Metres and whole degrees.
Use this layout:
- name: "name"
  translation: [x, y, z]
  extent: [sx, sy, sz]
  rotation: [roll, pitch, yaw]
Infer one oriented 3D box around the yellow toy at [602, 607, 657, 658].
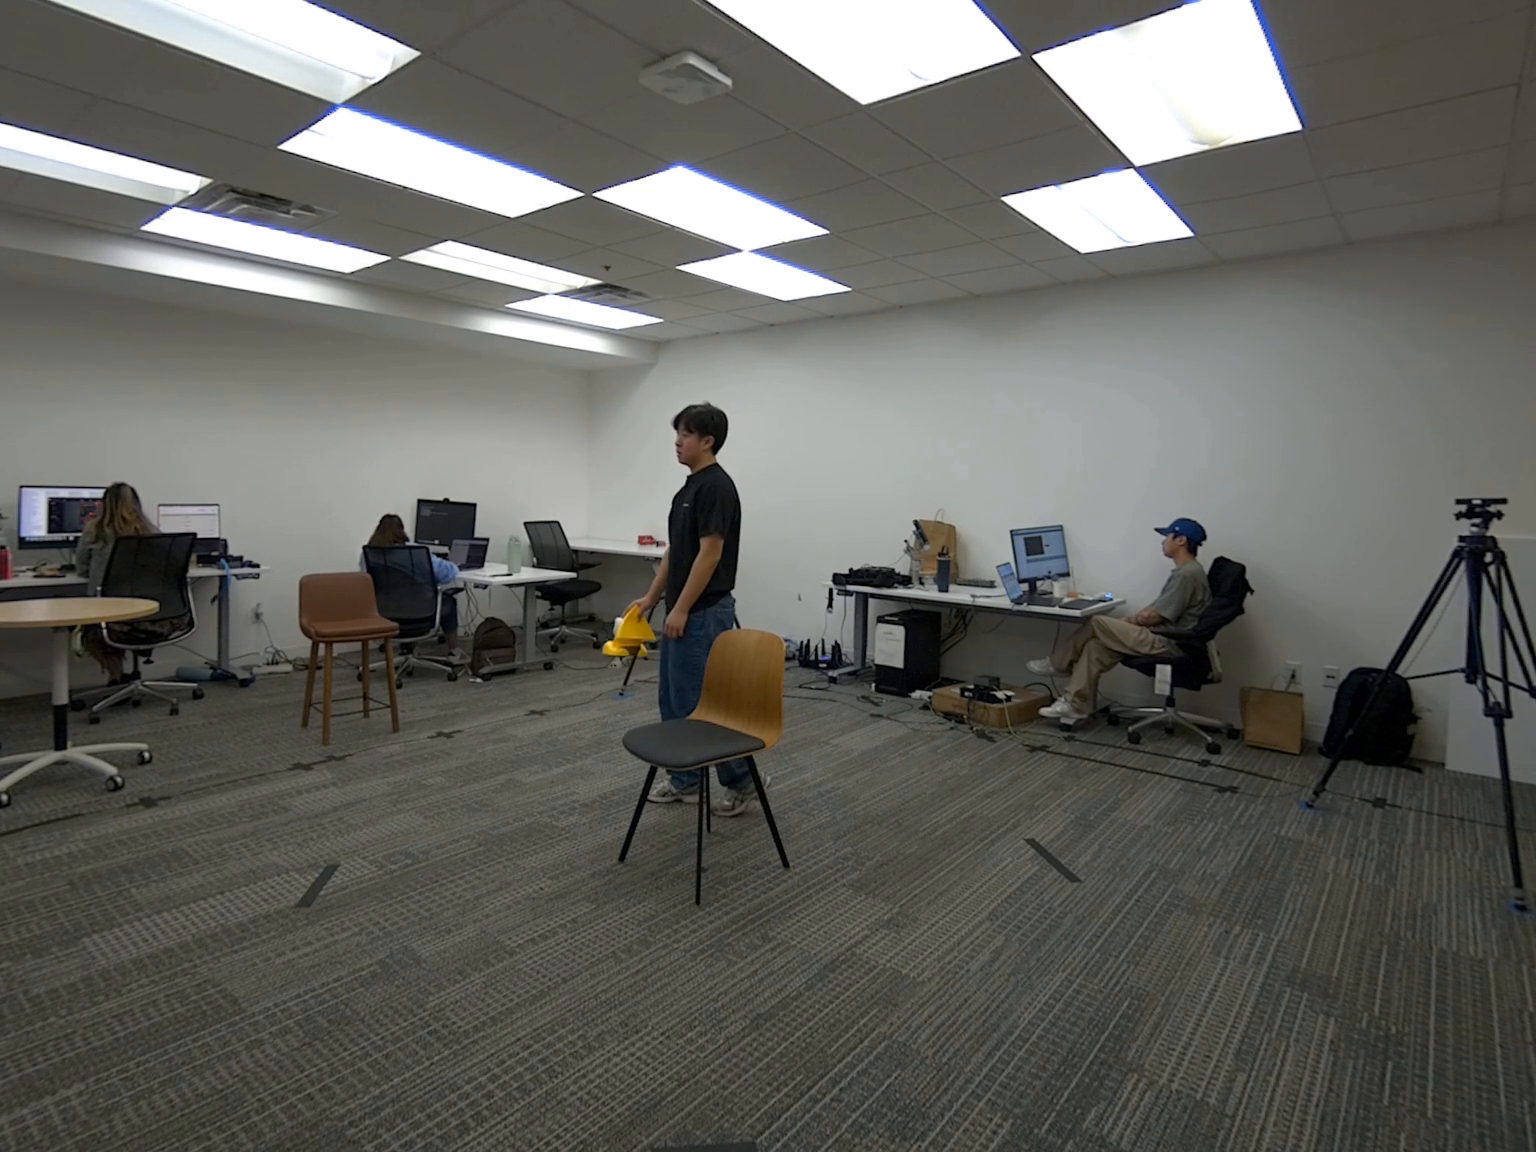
- name: "yellow toy"
  translation: [-0.650, 0.243, 3.901]
  extent: [0.198, 0.232, 0.199]
  rotation: [8, -6, -38]
